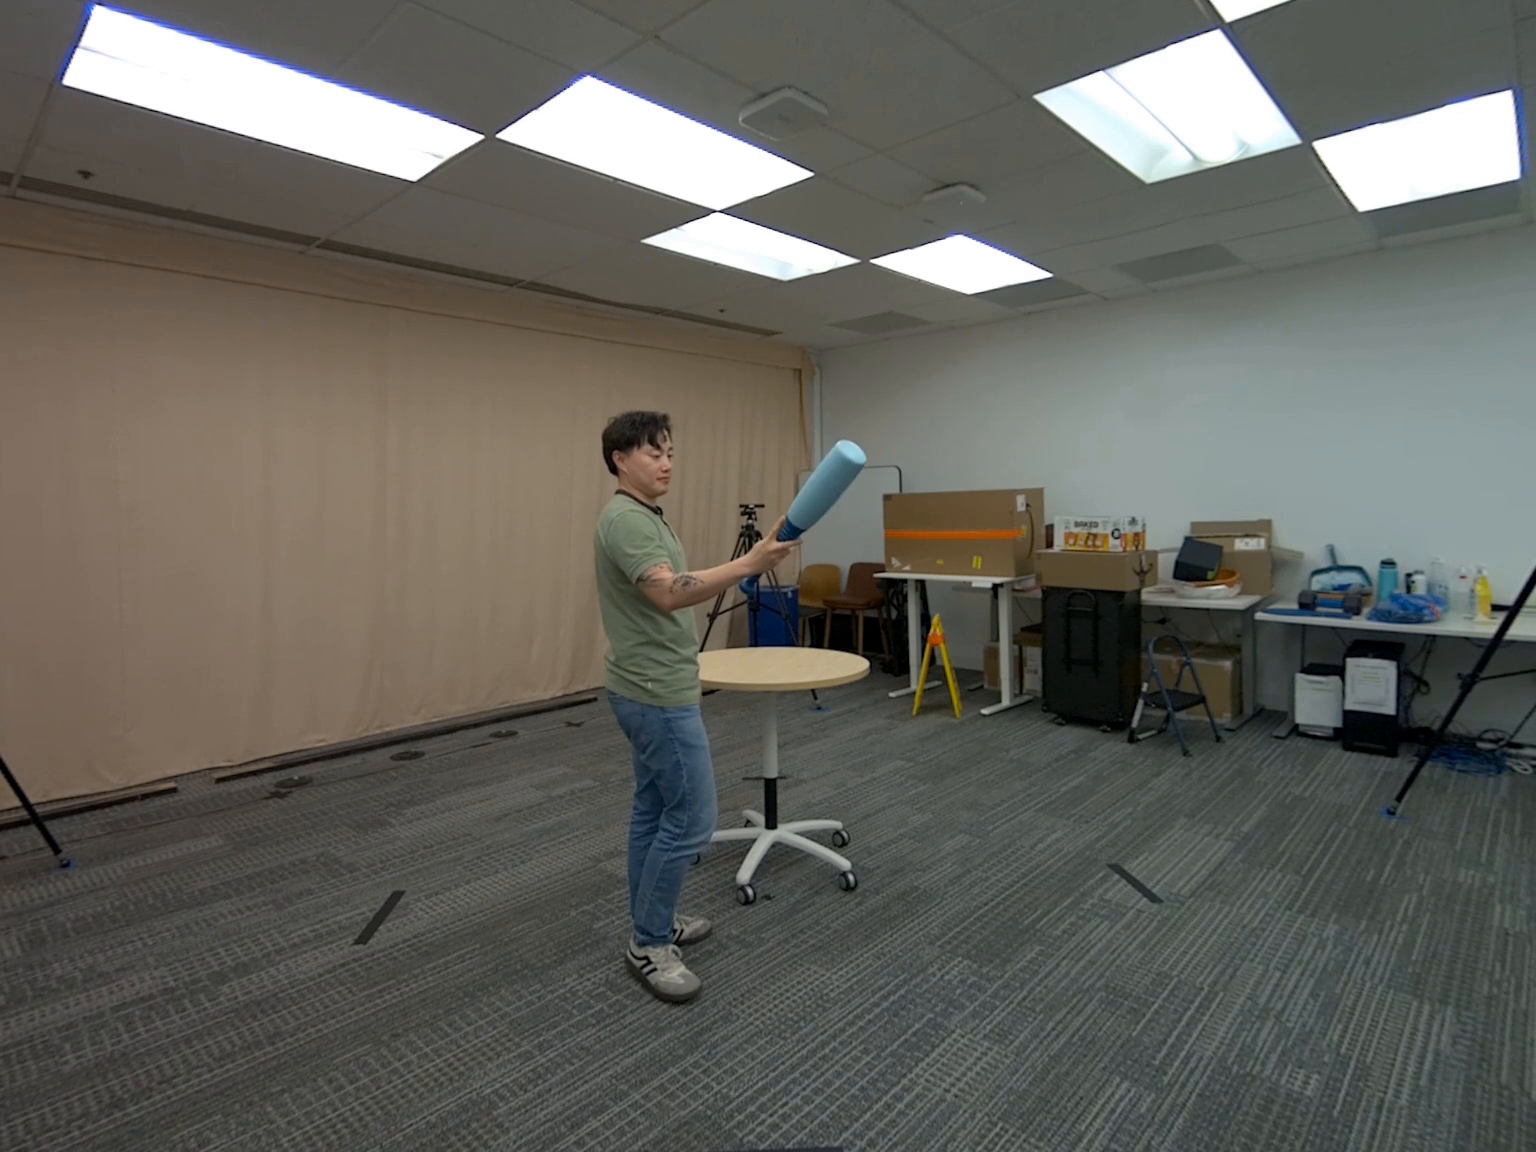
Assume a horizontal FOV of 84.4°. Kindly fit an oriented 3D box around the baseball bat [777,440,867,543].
[{"bbox_3d":[0.074,-0.132,2.149,0.086,0.091,0.545,-3,-37,-40],"label":"baseball bat"}]
